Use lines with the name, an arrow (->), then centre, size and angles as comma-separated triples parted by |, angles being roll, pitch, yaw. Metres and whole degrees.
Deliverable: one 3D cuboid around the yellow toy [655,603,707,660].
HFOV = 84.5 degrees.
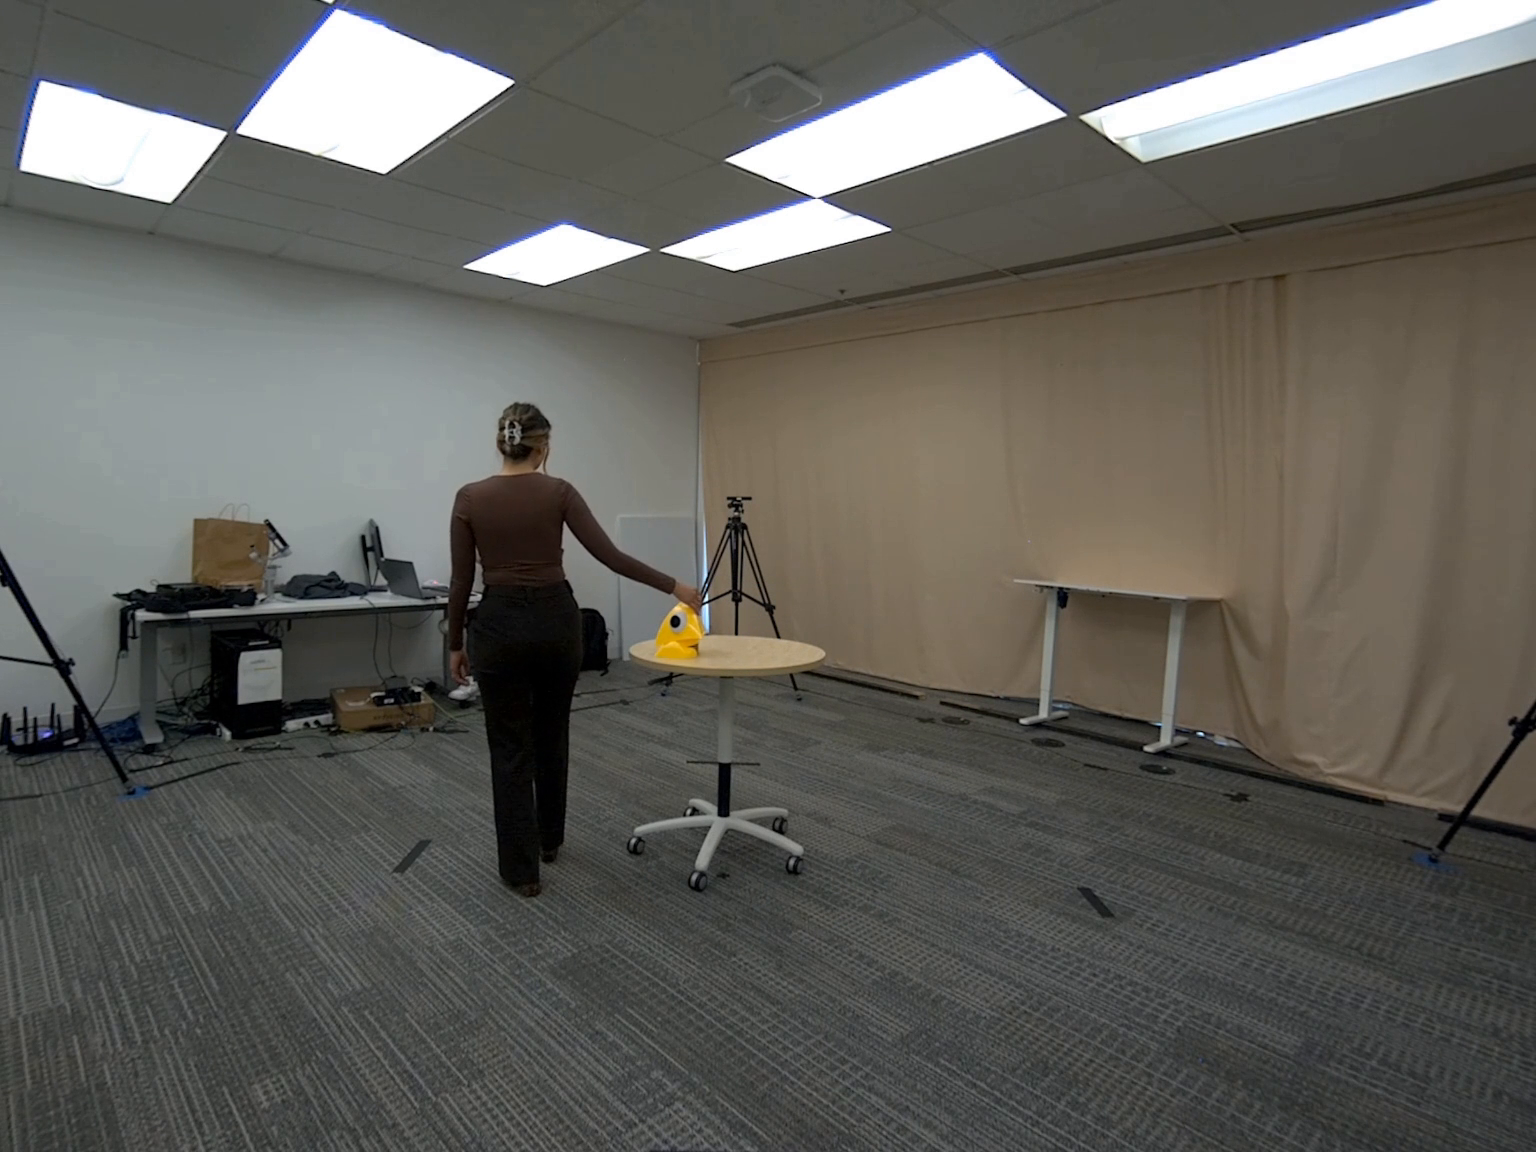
yellow toy -> -0.336, 0.182, 3.187 | 0.193, 0.230, 0.205 | 1, 4, 1
